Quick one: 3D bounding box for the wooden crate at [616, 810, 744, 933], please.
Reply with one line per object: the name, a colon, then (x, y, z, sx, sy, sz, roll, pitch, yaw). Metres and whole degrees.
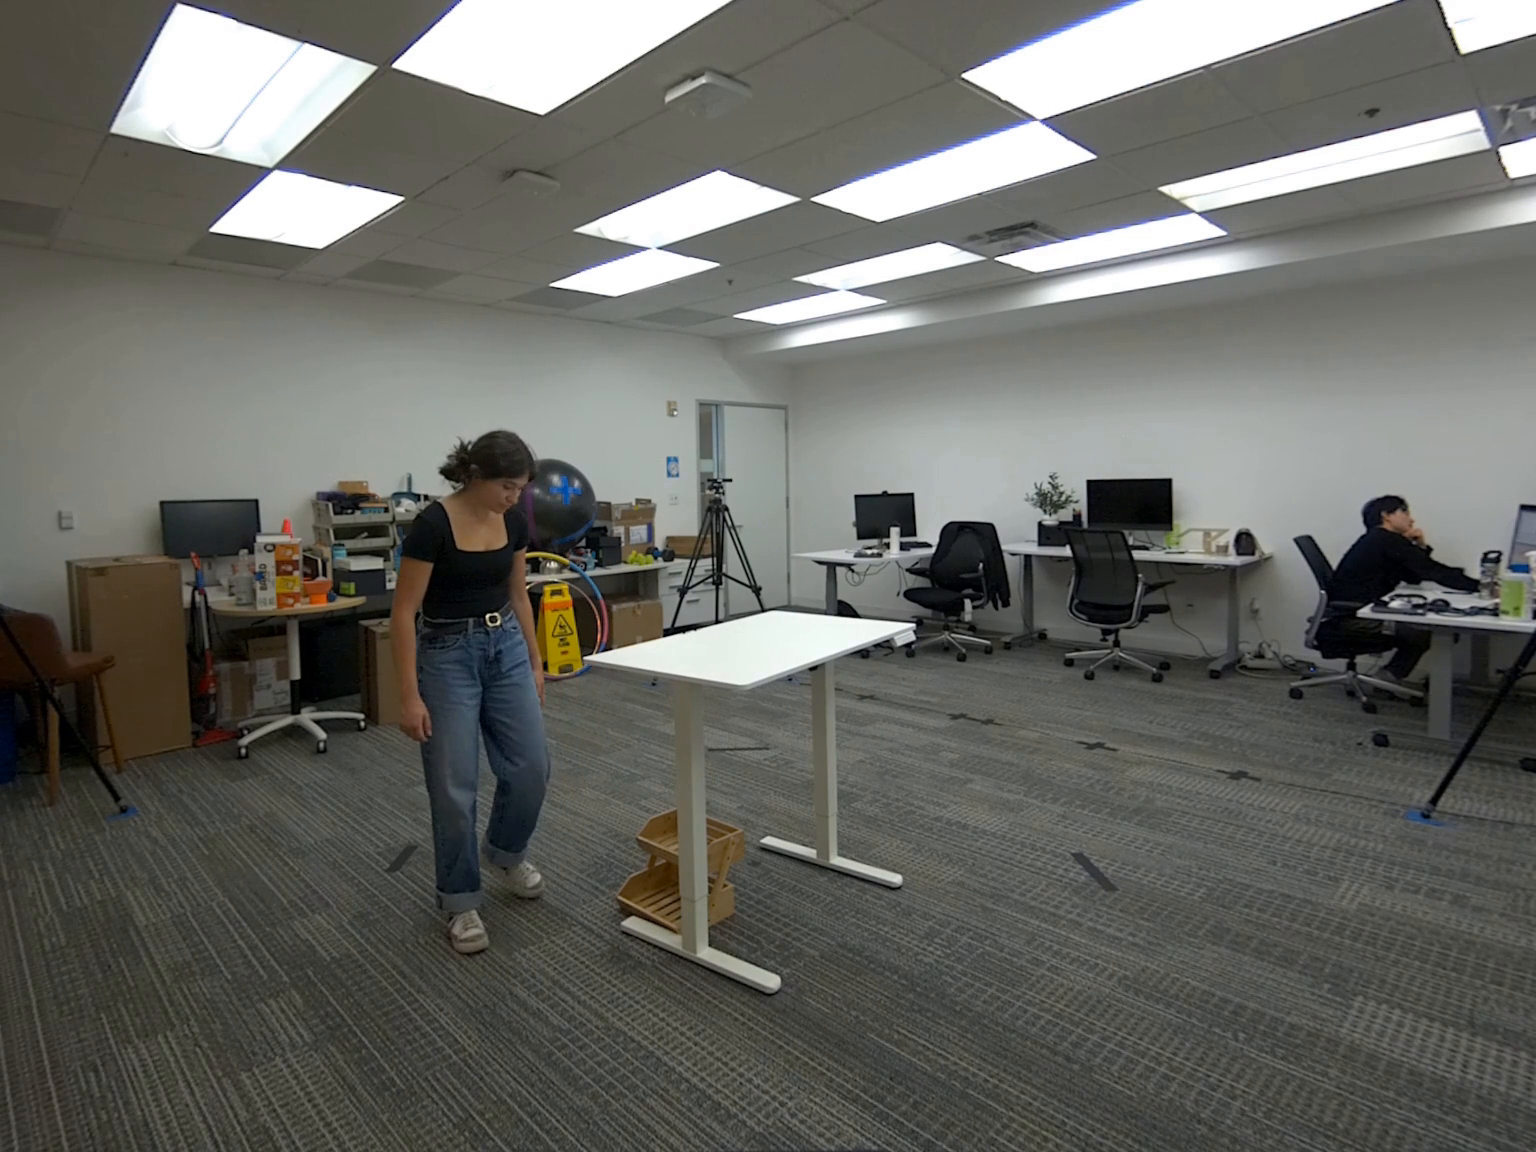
wooden crate: (-0.285, 0.954, 2.778, 0.334, 0.272, 0.294, 4, 6, 42)
